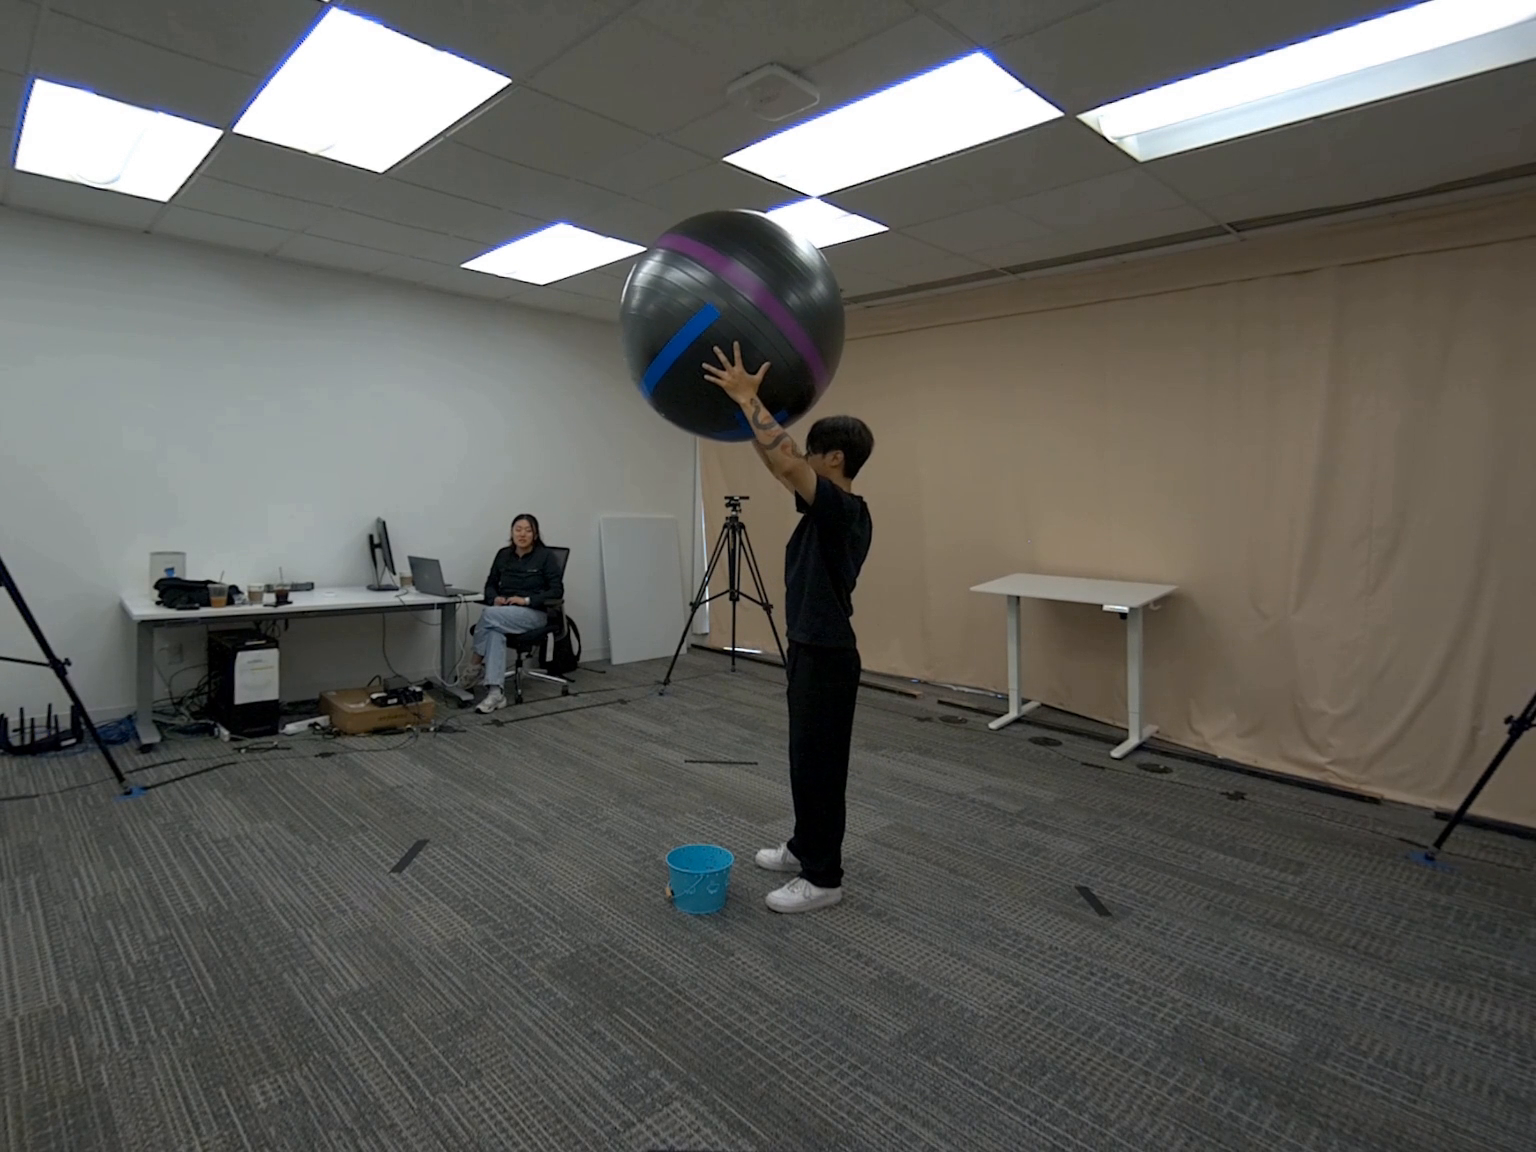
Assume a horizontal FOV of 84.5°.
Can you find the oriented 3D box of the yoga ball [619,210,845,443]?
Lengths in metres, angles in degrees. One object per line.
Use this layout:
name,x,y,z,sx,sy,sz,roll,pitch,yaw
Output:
yoga ball,-0.124,-0.832,2.856,0.757,0.756,0.761,1,4,-1
